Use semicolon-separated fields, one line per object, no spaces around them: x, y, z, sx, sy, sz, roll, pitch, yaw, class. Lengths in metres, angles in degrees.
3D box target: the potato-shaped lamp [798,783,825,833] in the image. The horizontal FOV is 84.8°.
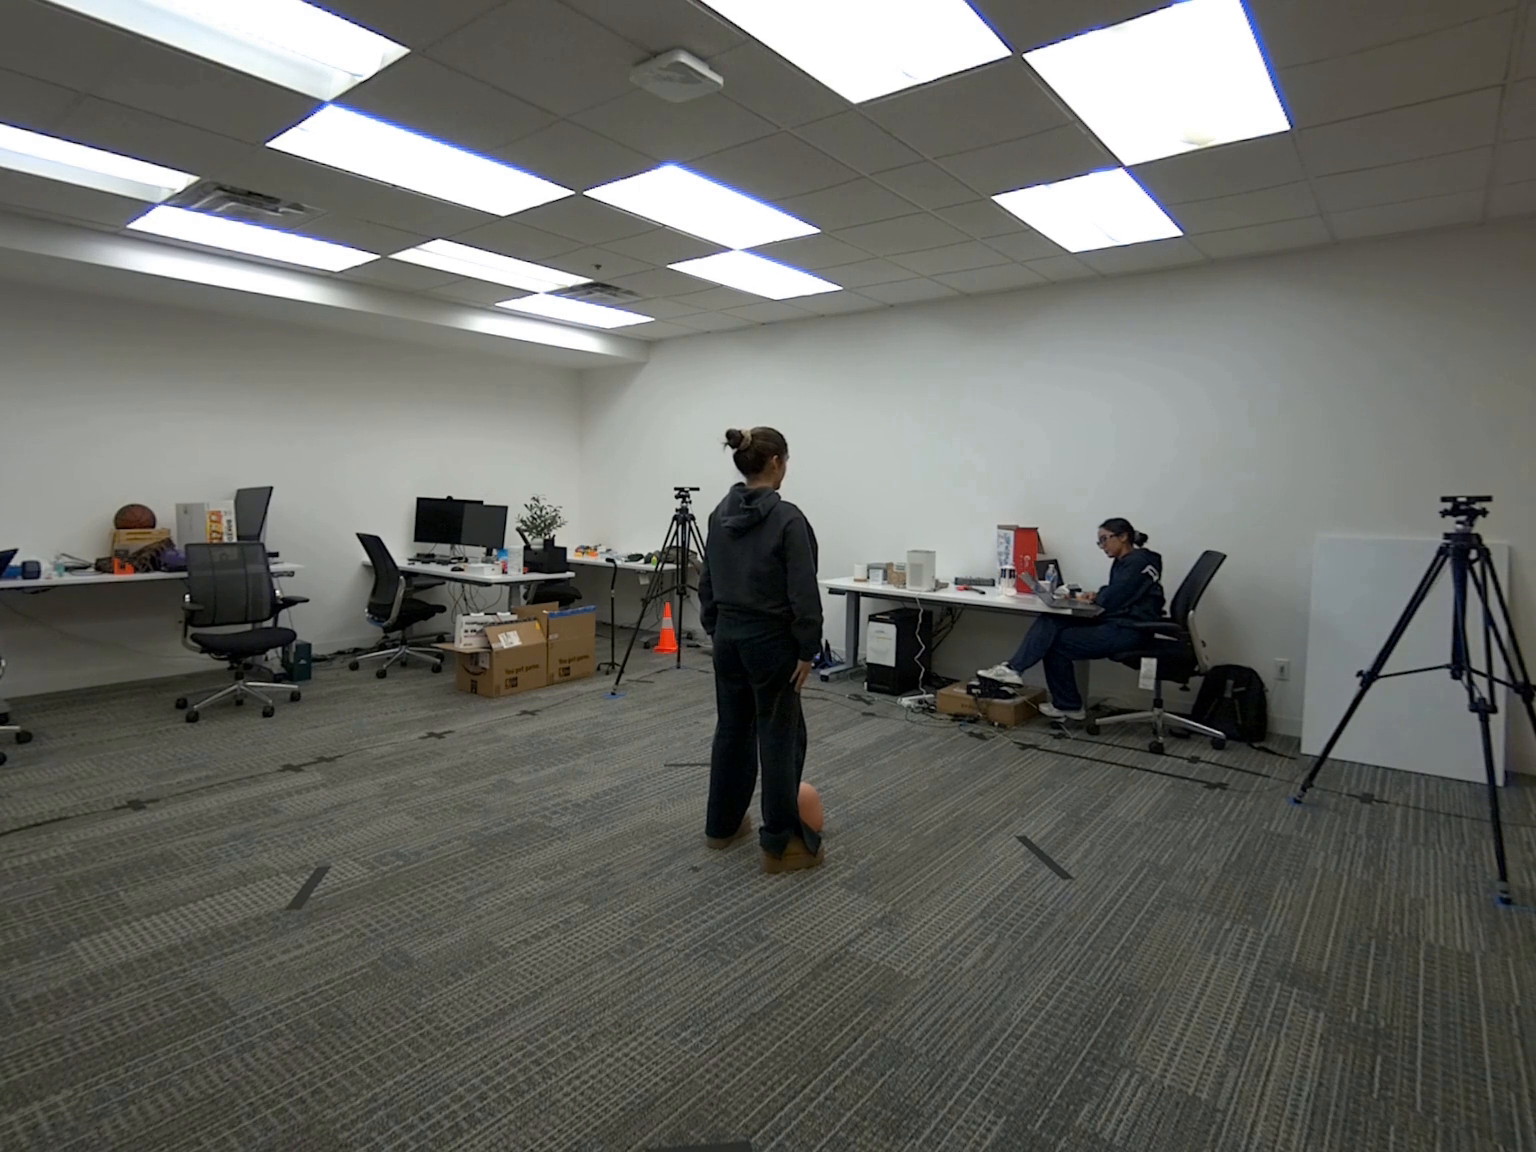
0.139;0.936;3.467;0.170;0.197;0.167;7;10;38;potato-shaped lamp
